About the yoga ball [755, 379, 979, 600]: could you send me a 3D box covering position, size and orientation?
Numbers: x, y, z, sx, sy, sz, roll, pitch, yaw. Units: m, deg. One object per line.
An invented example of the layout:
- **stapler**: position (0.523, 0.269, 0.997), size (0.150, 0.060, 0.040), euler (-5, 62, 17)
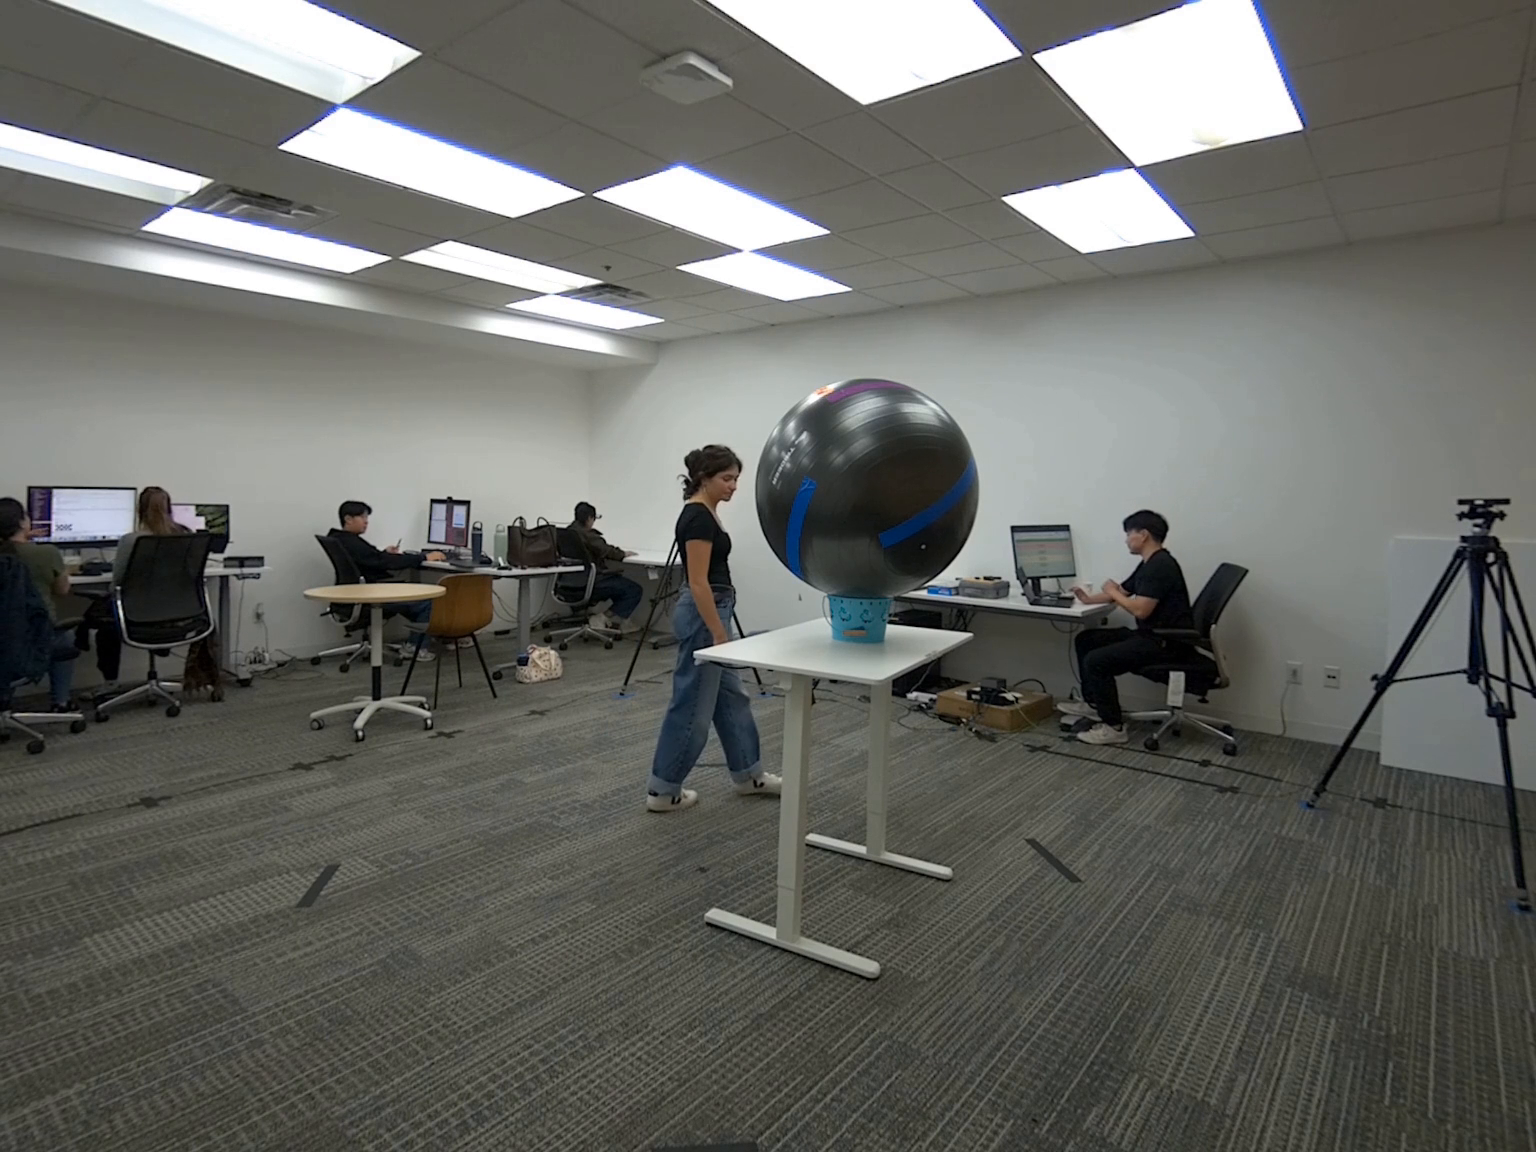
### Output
- **yoga ball**: position (0.326, -0.291, 2.933), size (0.757, 0.756, 0.762), euler (1, 4, -2)
